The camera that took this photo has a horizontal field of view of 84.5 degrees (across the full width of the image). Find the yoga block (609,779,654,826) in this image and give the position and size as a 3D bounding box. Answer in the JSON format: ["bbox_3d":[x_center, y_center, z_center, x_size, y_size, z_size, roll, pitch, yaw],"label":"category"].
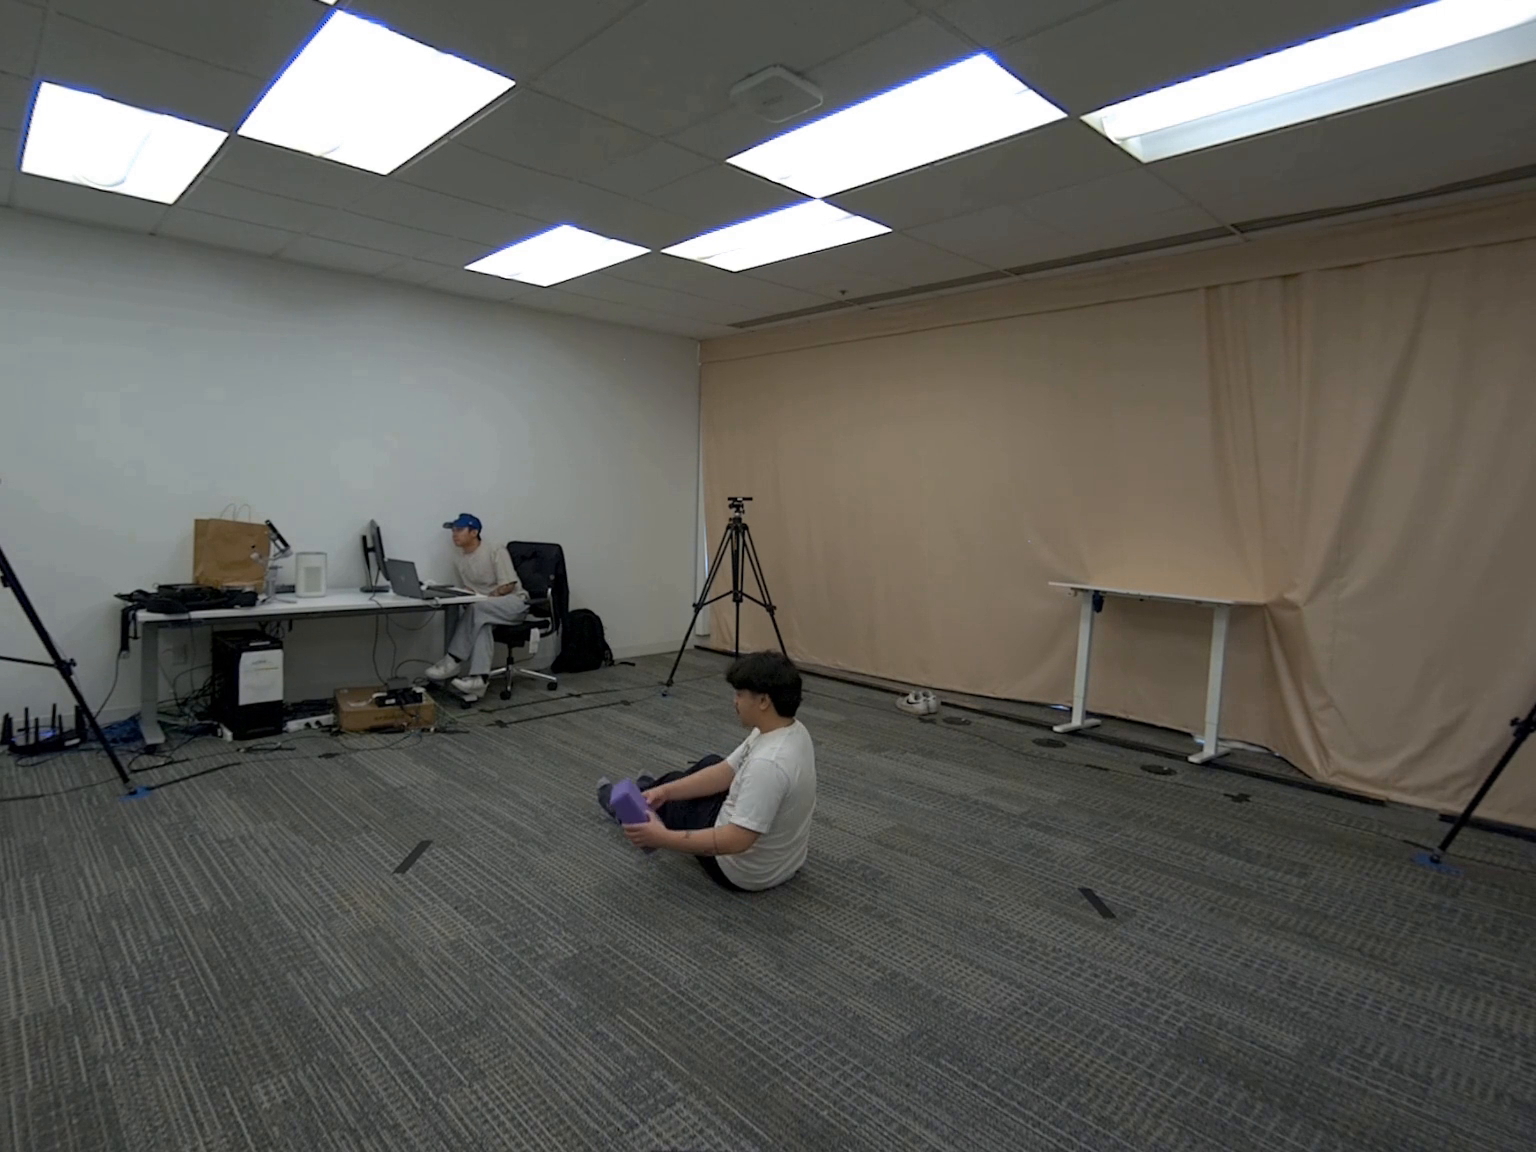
[{"bbox_3d":[-0.447,0.822,2.918,0.076,0.228,0.150,-32,7,-1],"label":"yoga block"}]
